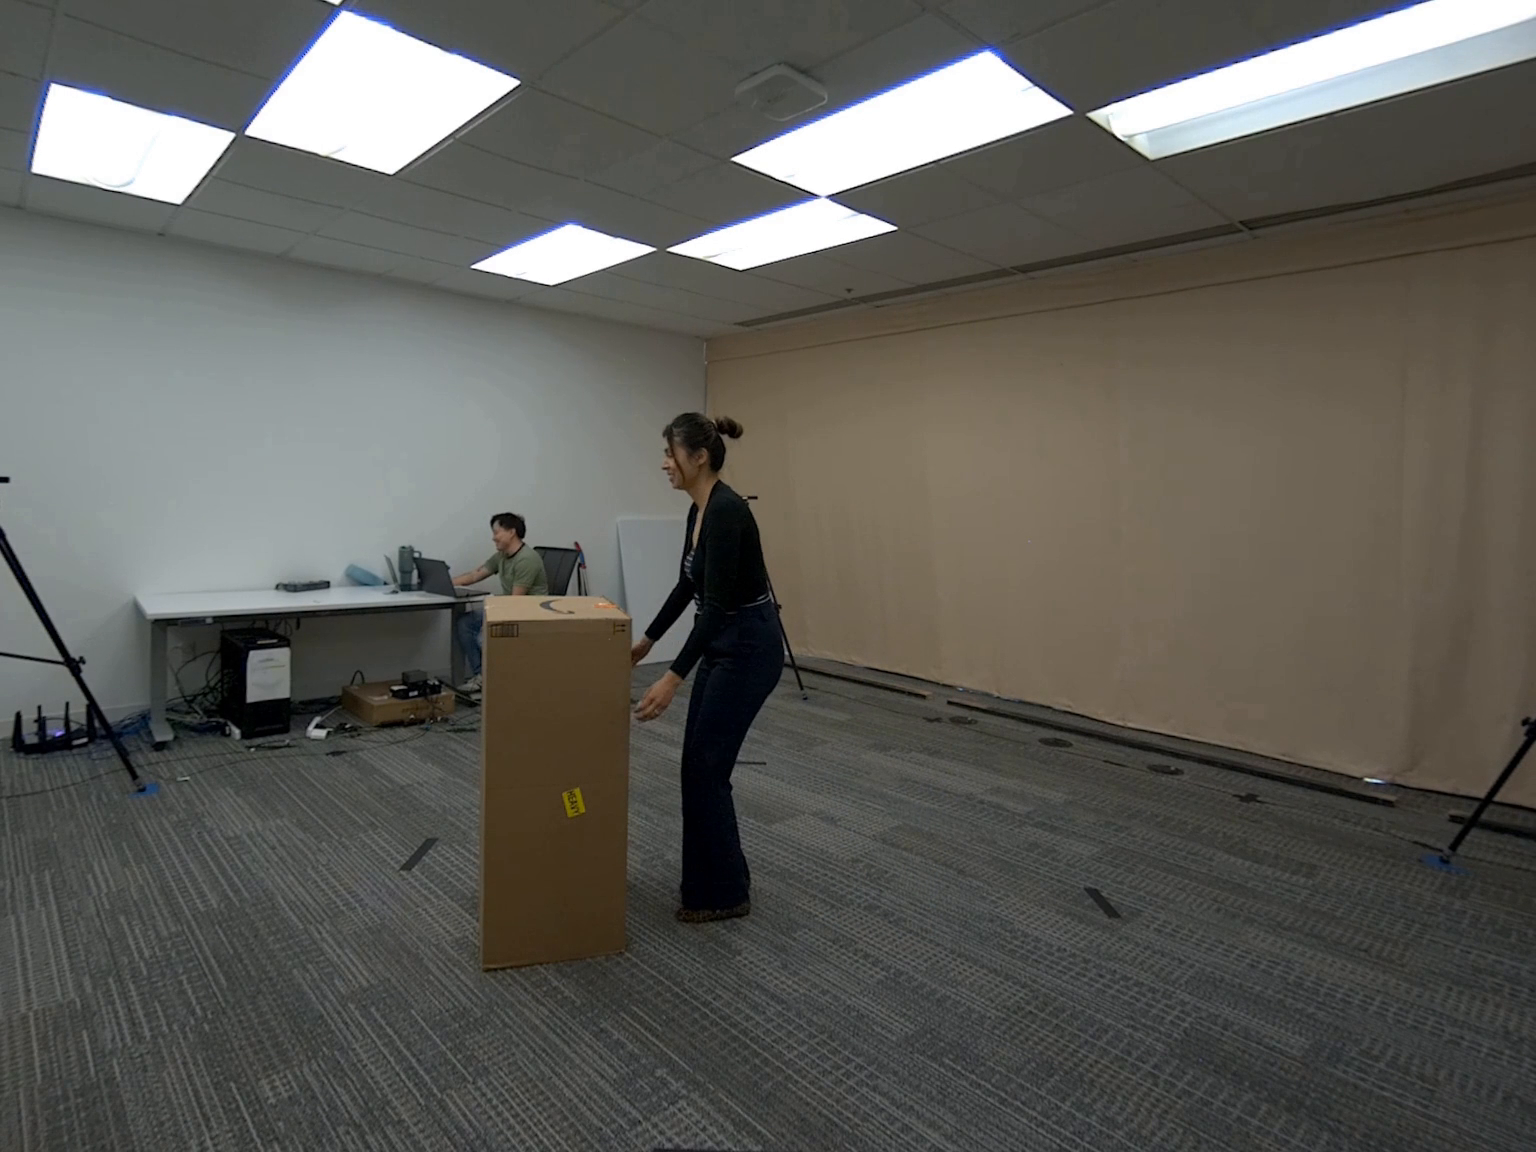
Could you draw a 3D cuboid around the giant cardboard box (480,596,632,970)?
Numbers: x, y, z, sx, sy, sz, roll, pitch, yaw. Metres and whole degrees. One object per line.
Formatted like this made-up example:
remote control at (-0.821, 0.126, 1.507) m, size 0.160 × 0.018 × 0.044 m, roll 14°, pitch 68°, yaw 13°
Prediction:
giant cardboard box at (-0.713, 0.614, 2.744) m, size 0.420 × 1.023 × 0.587 m, roll 0°, pitch 3°, yaw -19°
